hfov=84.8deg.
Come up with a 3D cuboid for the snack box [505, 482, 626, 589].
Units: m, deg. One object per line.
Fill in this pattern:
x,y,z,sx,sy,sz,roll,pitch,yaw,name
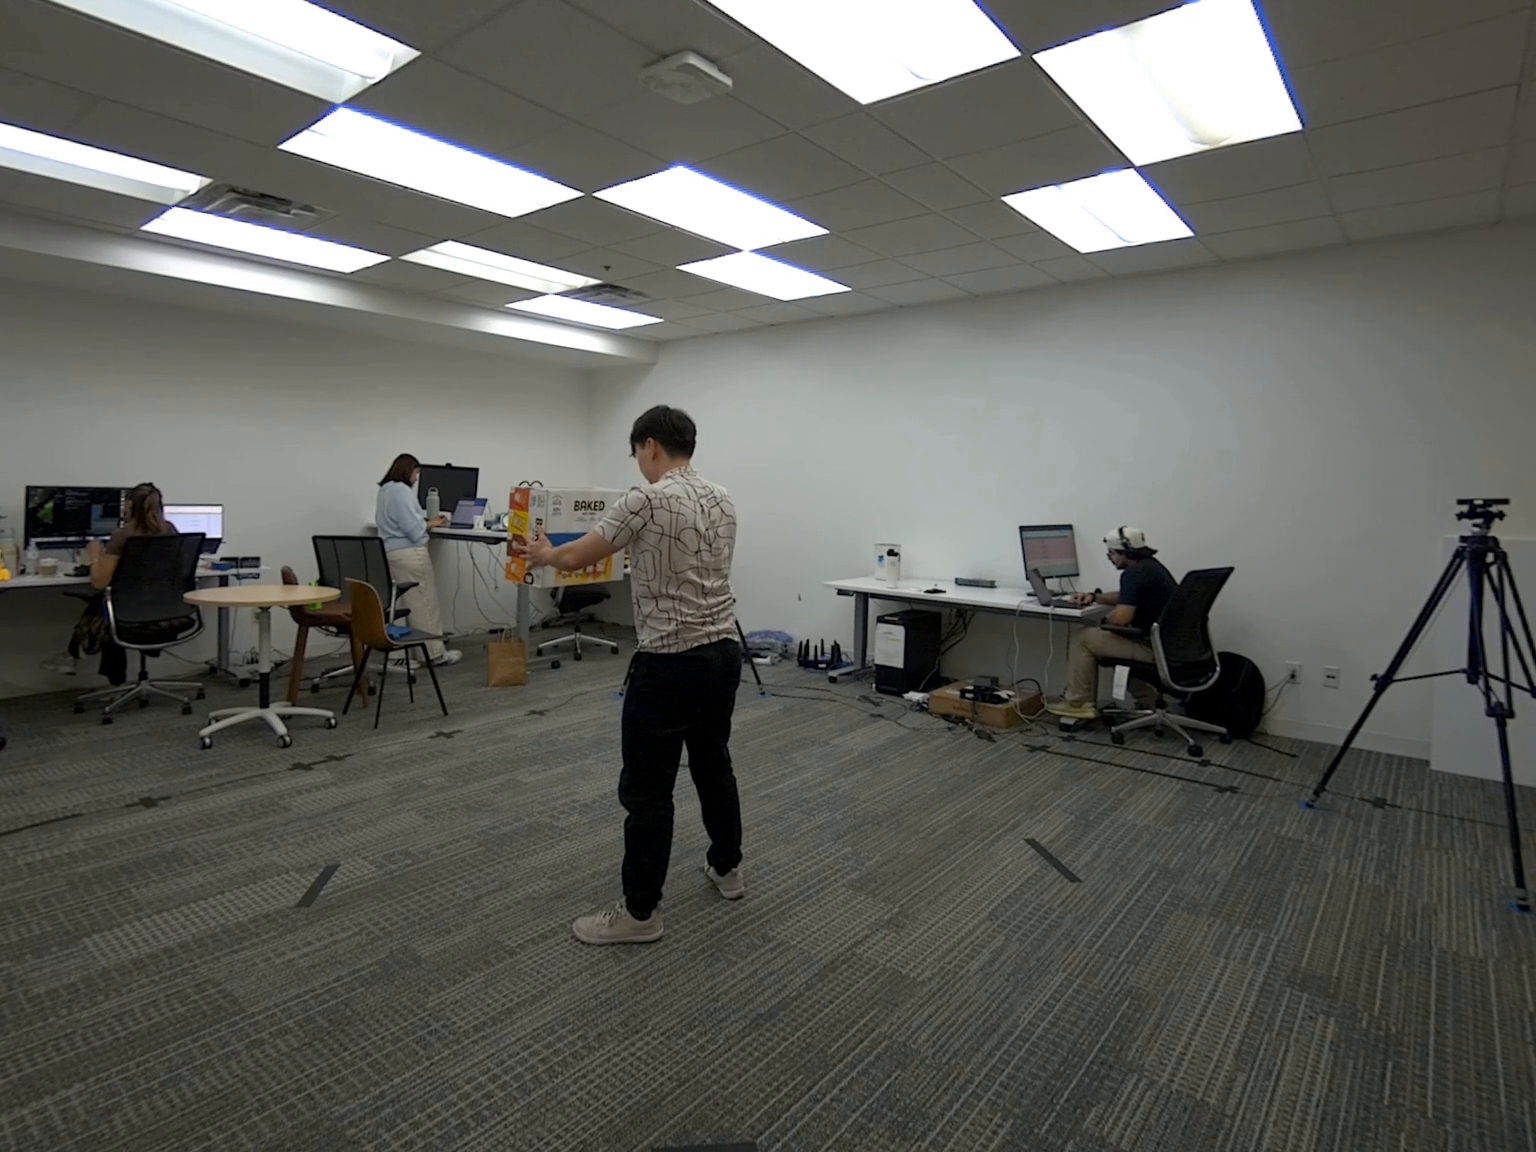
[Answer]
-0.748,-0.158,3.130,0.213,0.338,0.393,10,8,34,snack box
